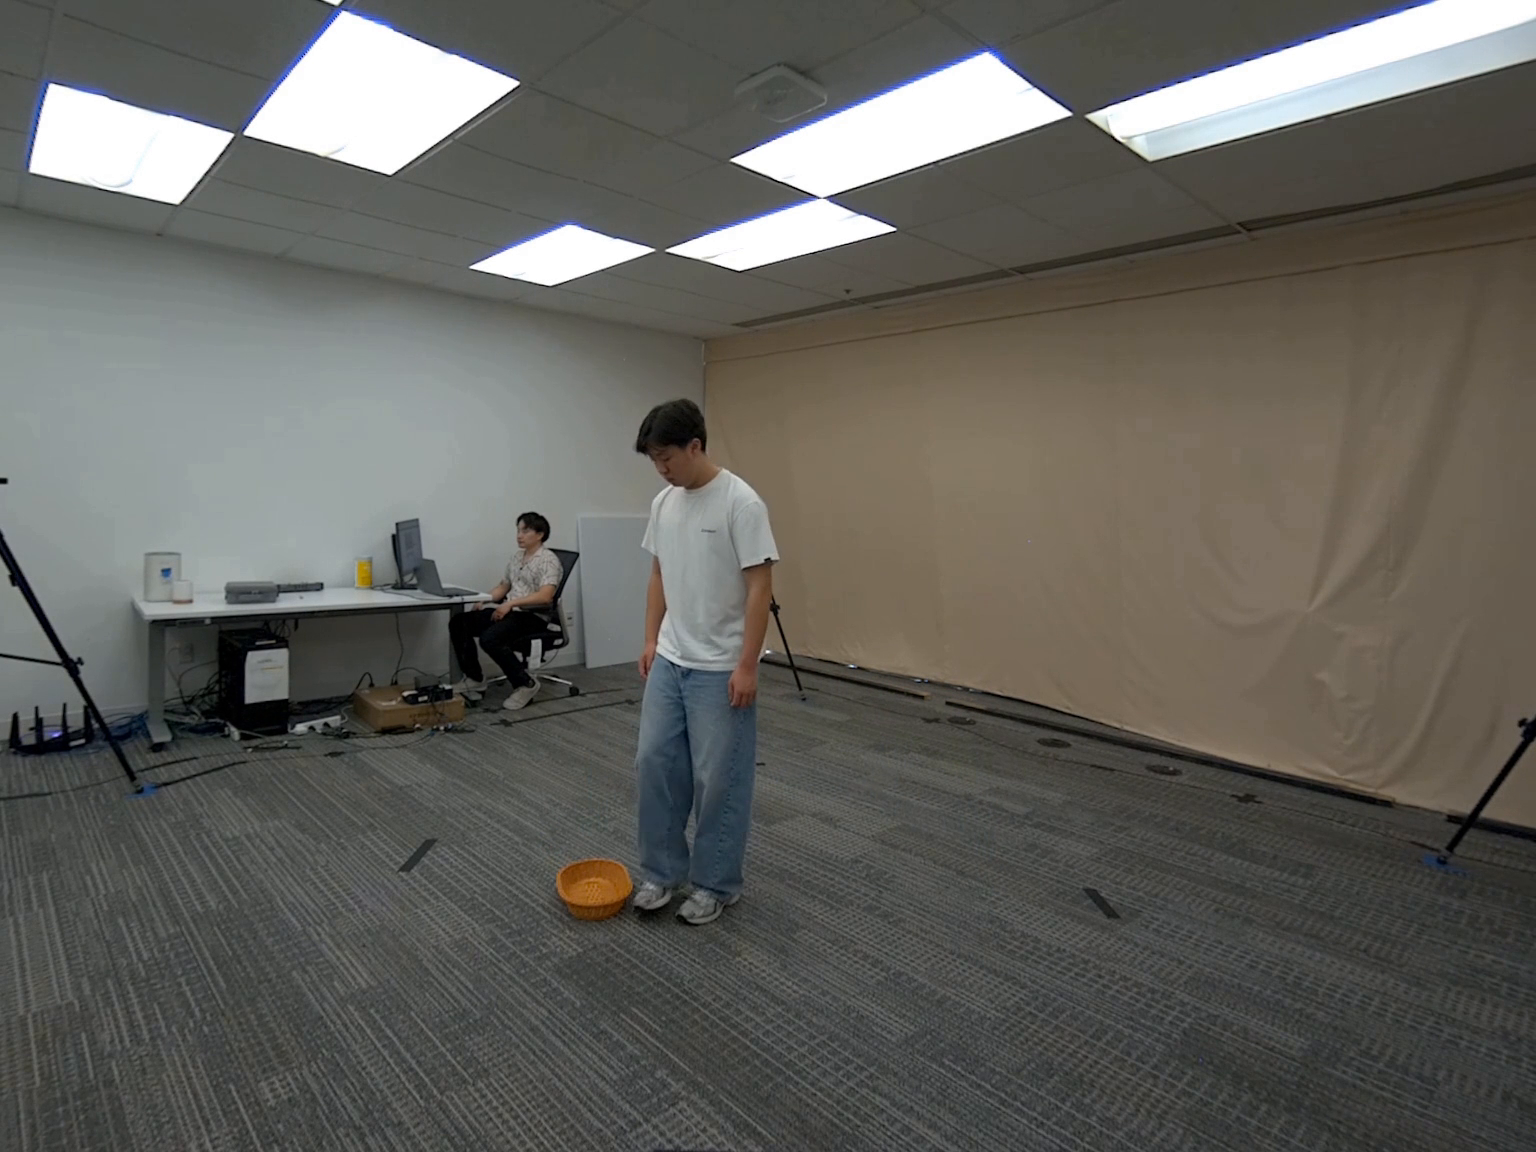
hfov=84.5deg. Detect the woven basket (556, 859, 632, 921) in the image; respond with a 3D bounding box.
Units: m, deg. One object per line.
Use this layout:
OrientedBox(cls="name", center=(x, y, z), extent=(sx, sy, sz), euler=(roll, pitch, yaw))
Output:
OrientedBox(cls="woven basket", center=(-0.602, 1.073, 2.892), extent=(0.249, 0.073, 0.356), euler=(-1, 6, -17))
